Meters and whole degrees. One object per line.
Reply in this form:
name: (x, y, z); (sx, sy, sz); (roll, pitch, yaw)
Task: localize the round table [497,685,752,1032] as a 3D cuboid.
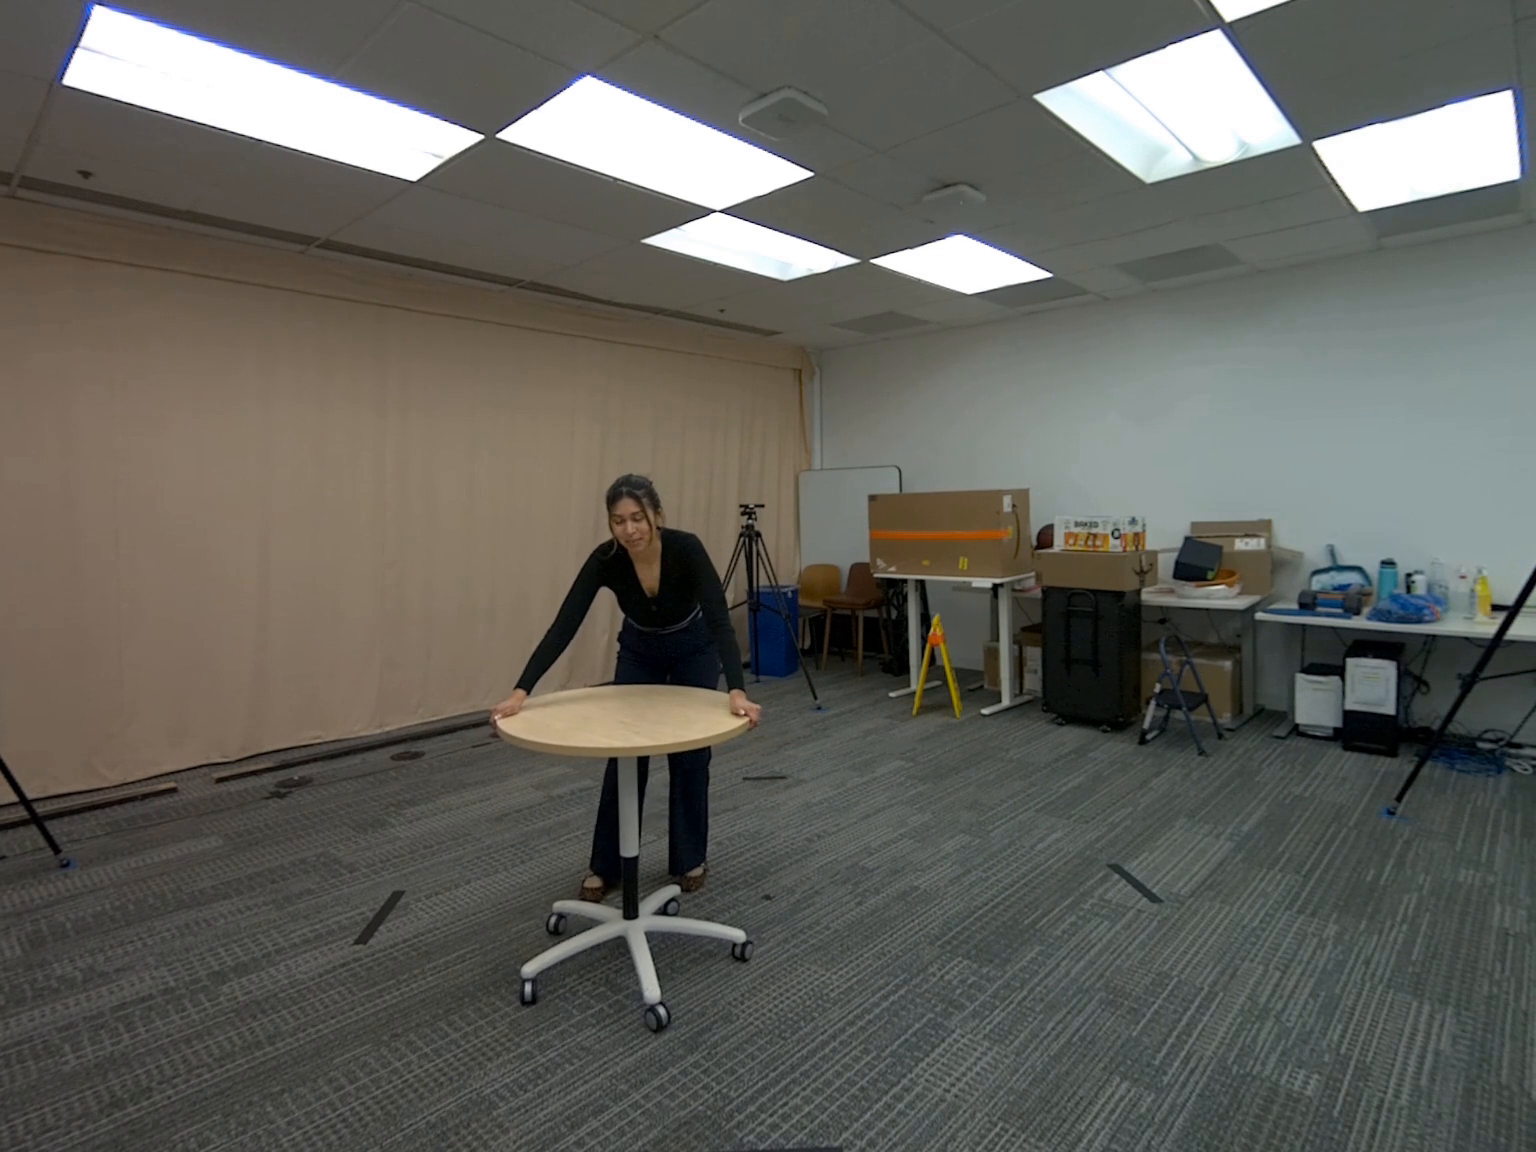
round table: (-0.413, 0.797, 2.556); (0.763, 0.792, 0.767); (-1, 4, -2)
